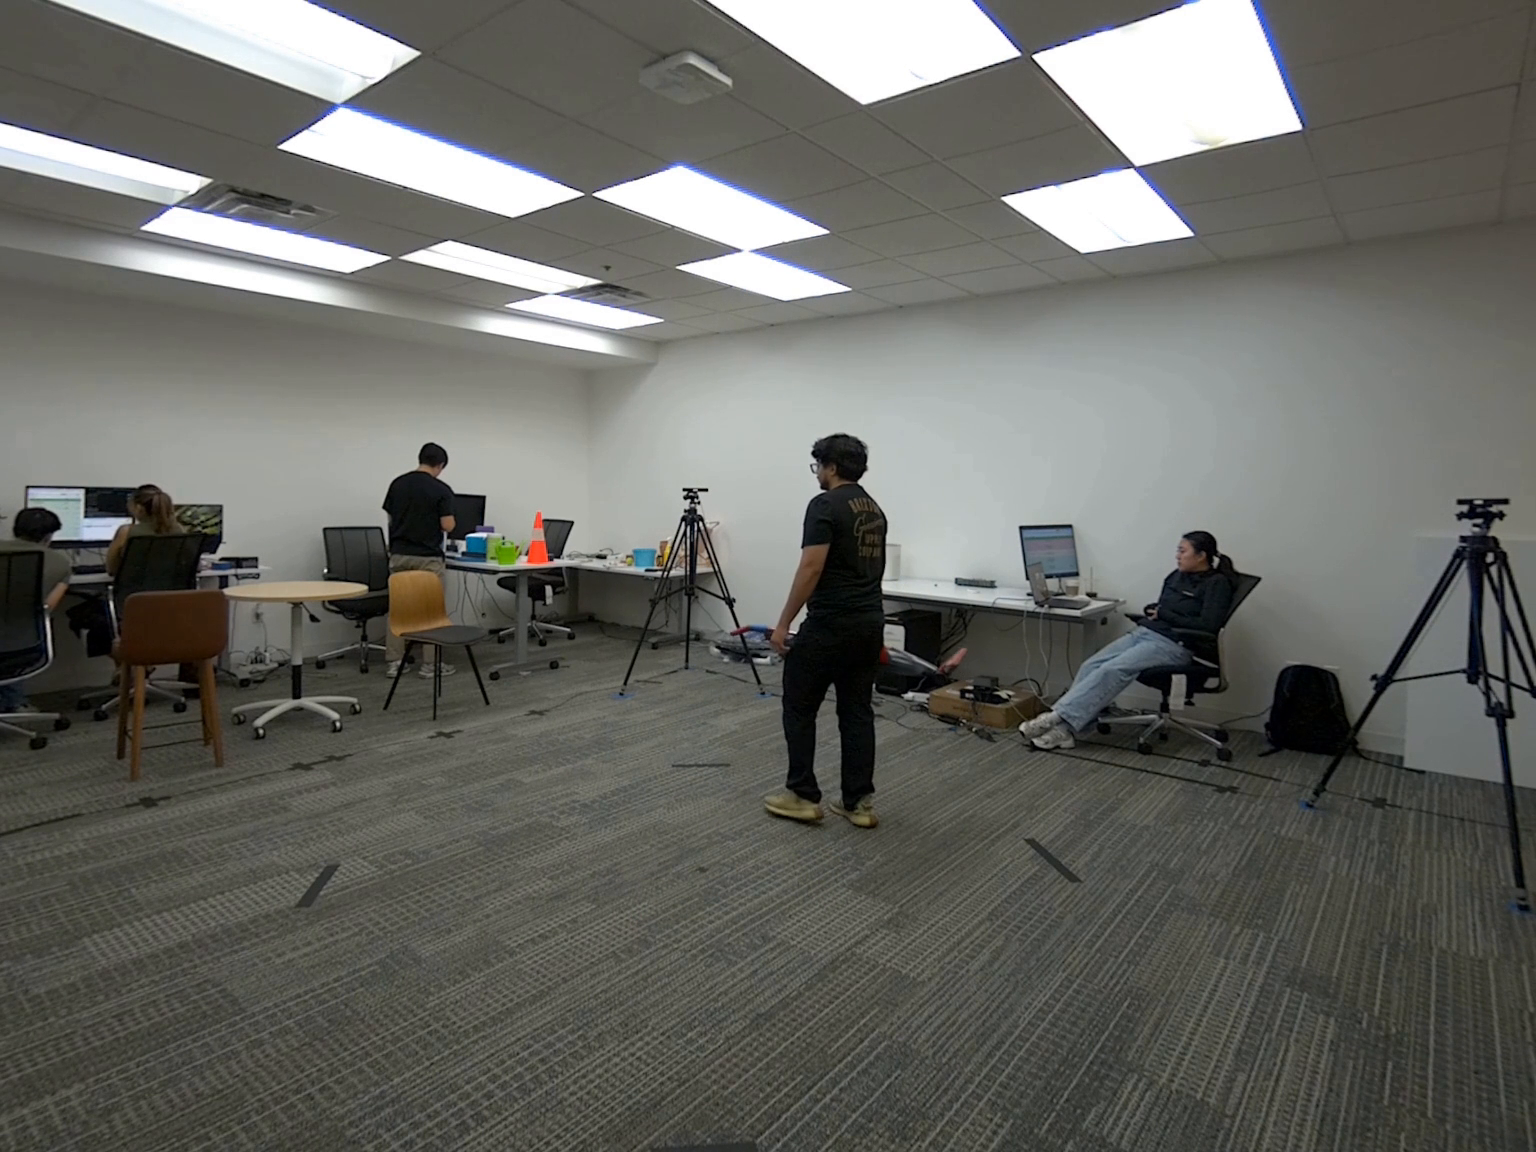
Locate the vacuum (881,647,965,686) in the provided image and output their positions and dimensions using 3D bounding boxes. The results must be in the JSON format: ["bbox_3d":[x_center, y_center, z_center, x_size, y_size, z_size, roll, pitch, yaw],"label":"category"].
[{"bbox_3d":[0.311,0.336,3.897,1.077,0.142,0.249,7,14,24],"label":"vacuum"}]
